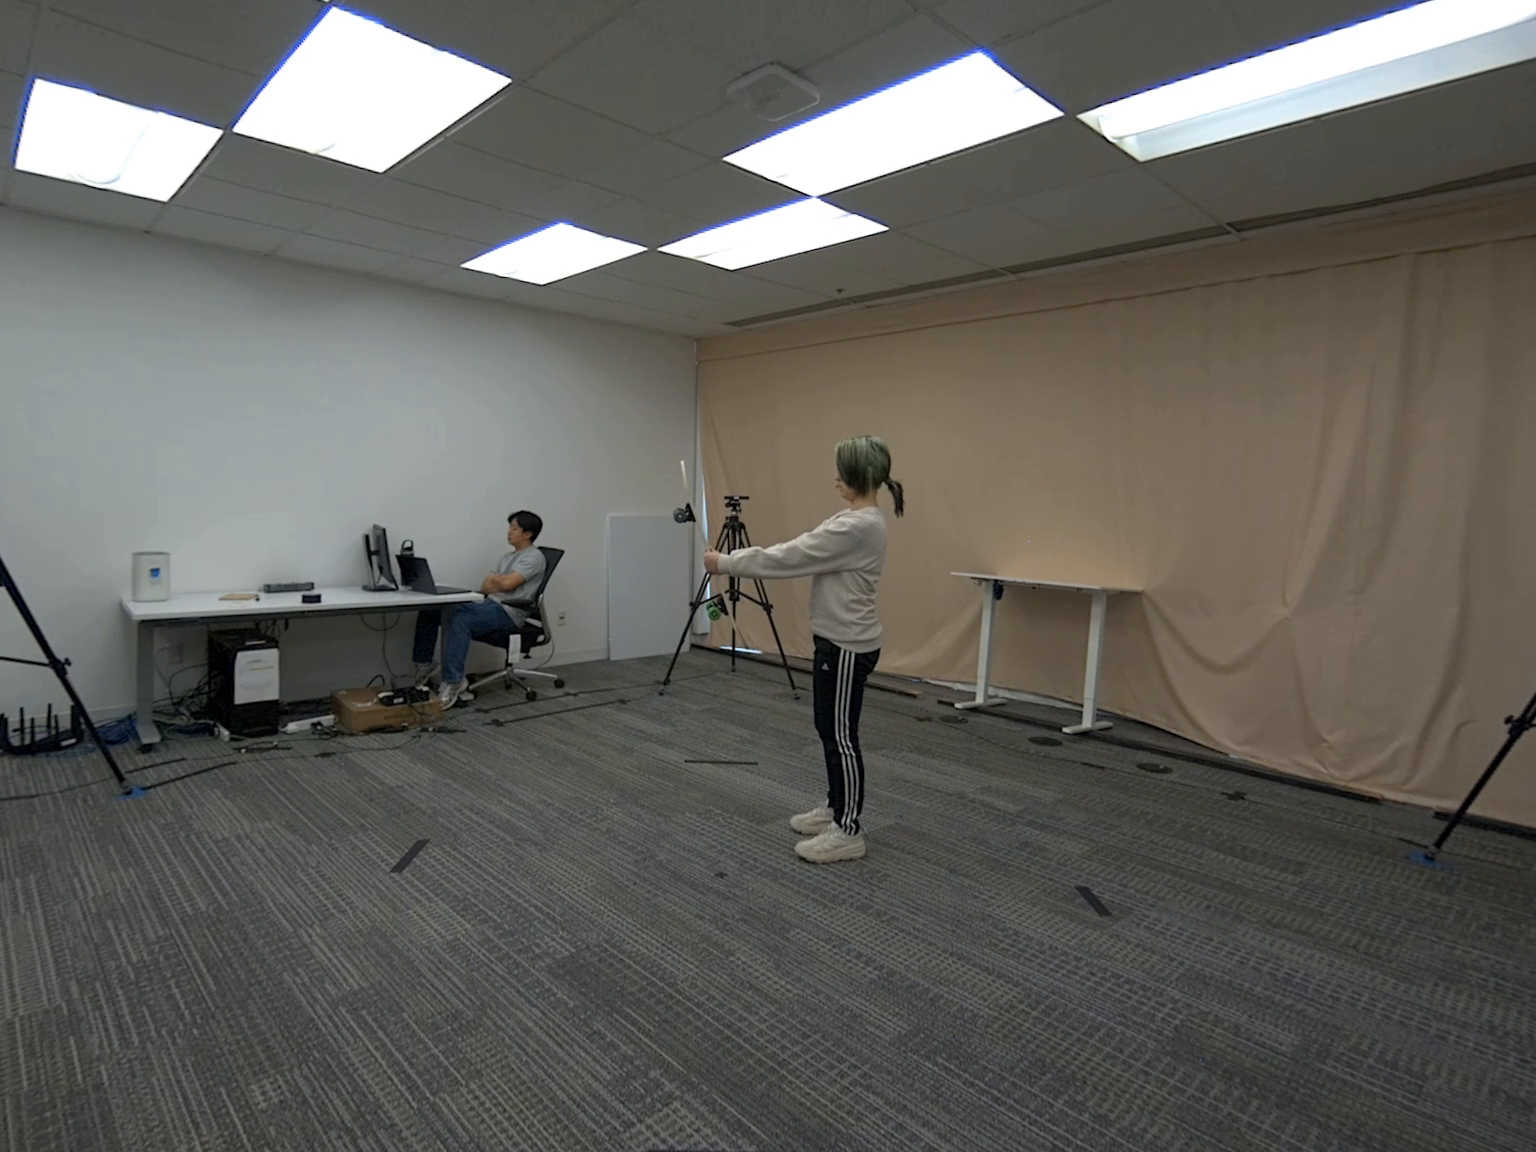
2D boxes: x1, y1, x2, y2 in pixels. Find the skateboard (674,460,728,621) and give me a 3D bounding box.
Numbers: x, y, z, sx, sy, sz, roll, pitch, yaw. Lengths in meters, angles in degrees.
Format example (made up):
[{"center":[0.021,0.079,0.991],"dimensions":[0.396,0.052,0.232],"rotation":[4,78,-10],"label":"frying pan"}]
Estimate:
[{"center":[-0.260,-0.059,3.305],"dimensions":[0.110,0.780,0.195],"rotation":[-18,7,-1],"label":"skateboard"}]
